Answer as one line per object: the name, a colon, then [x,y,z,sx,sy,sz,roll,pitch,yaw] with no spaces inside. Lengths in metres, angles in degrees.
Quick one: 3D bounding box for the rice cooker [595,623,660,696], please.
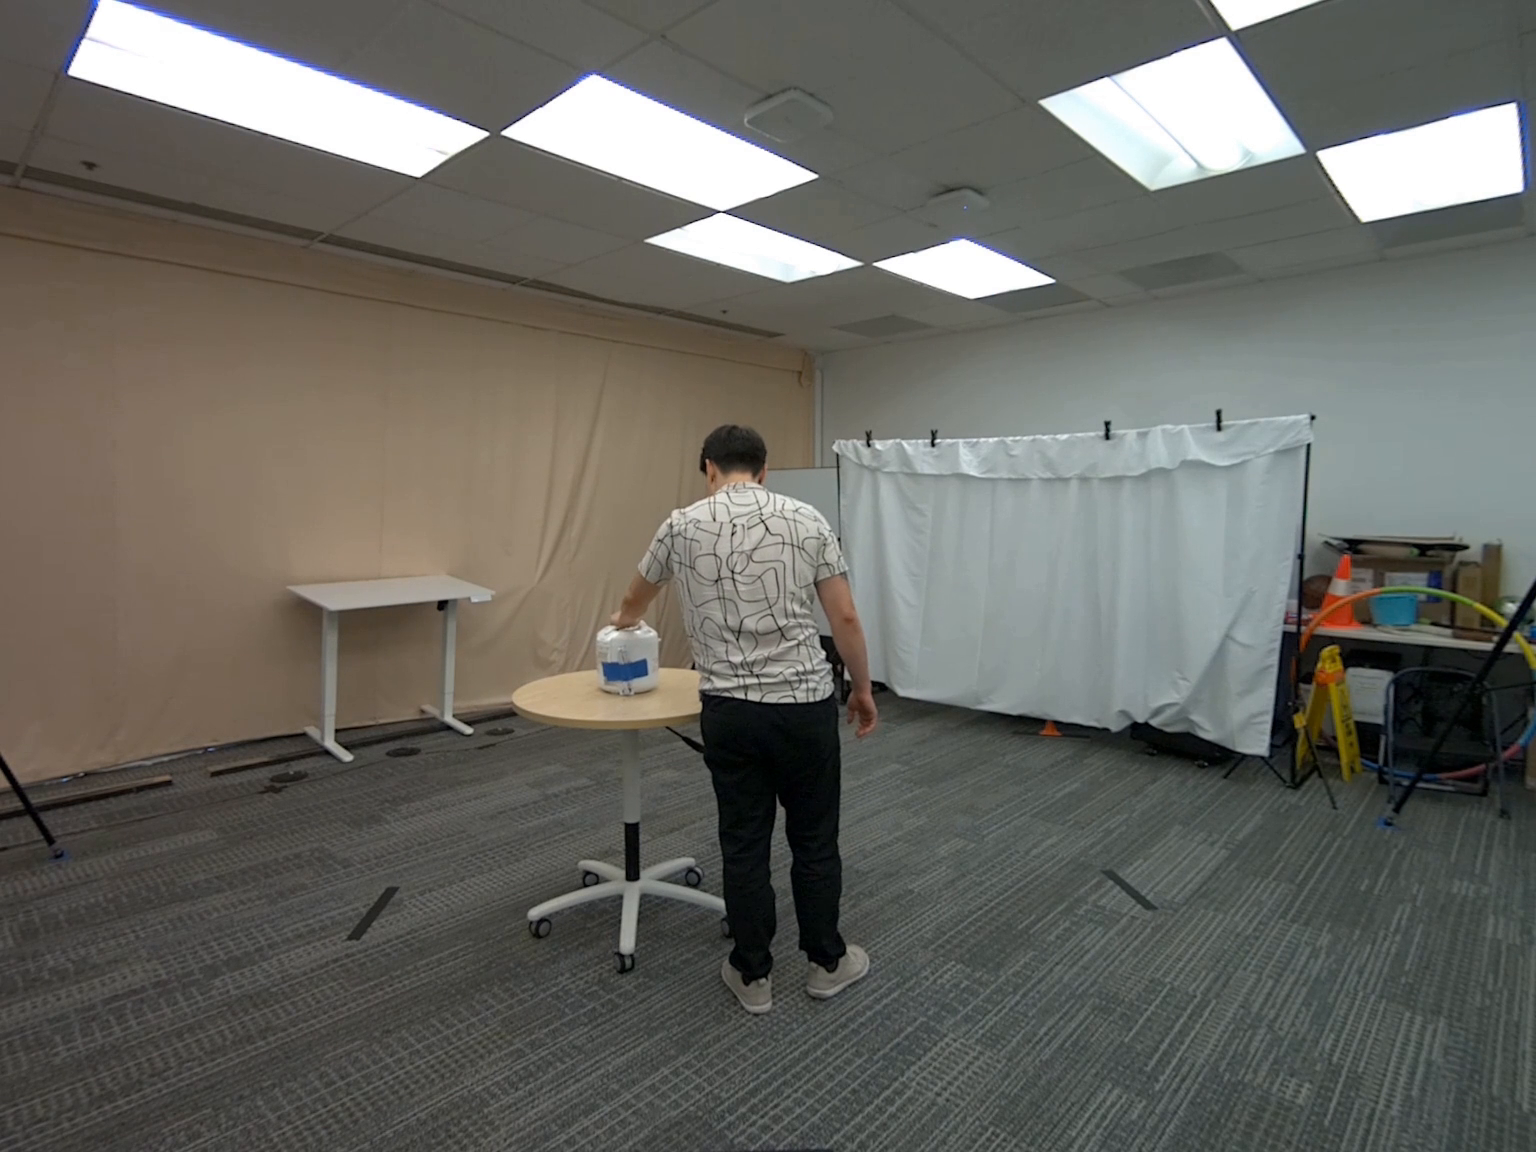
rice cooker: [-0.473,0.263,2.817,0.225,0.232,0.214,5,7,42]
